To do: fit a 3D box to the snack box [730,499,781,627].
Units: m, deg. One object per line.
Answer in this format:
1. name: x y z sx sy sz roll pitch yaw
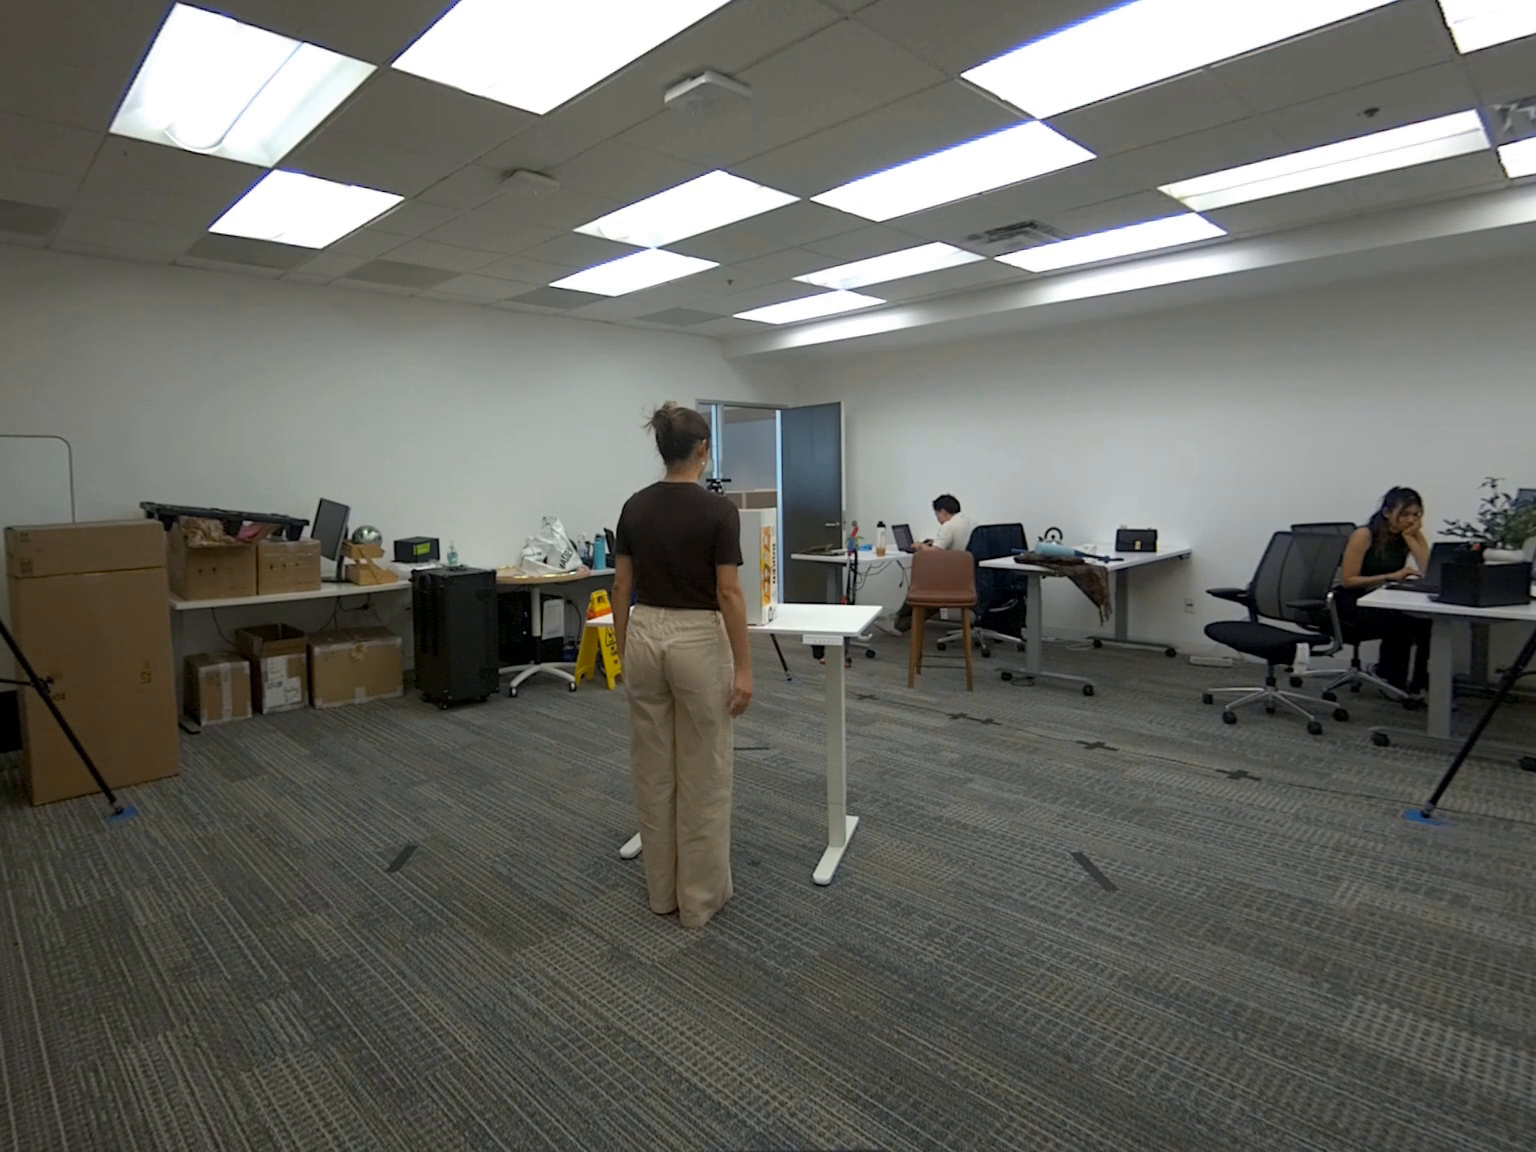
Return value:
1. snack box: -0.151 -0.040 3.097 0.346 0.404 0.203 0 3 17
